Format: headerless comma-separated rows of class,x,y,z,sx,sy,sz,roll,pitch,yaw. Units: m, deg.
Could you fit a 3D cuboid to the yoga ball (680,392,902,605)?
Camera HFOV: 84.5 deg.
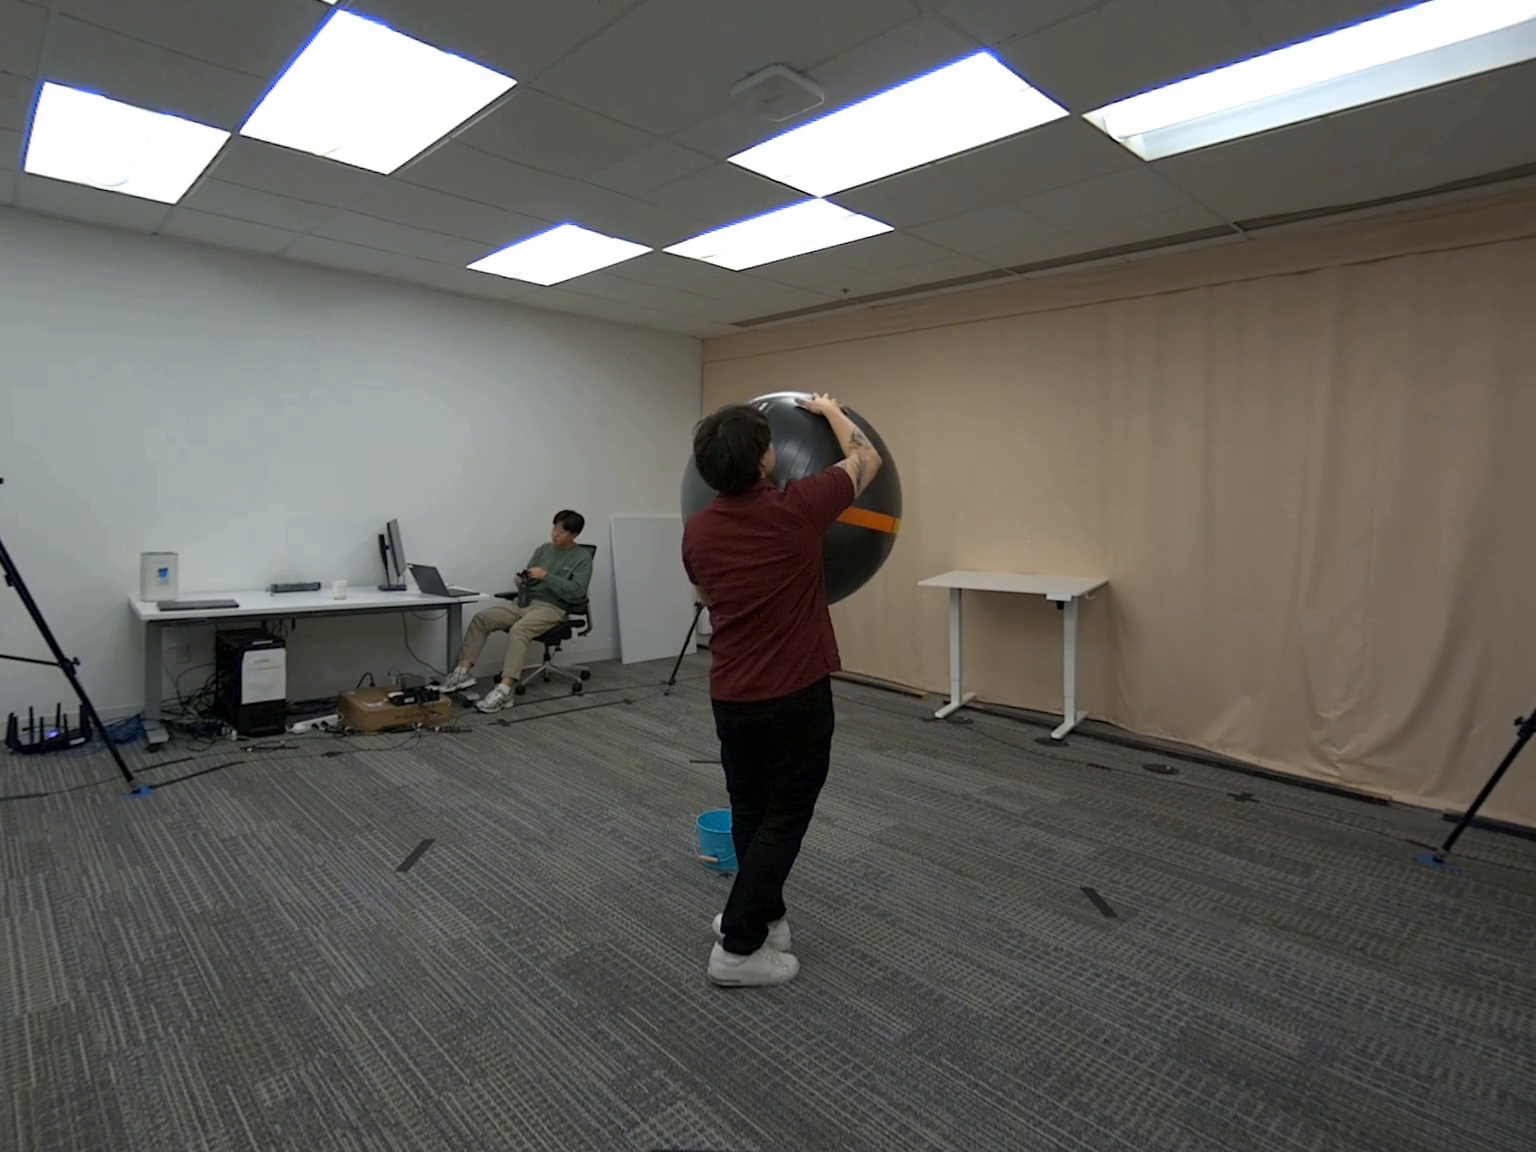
yoga ball,0.073,-0.255,2.919,0.757,0.756,0.761,1,4,-1
